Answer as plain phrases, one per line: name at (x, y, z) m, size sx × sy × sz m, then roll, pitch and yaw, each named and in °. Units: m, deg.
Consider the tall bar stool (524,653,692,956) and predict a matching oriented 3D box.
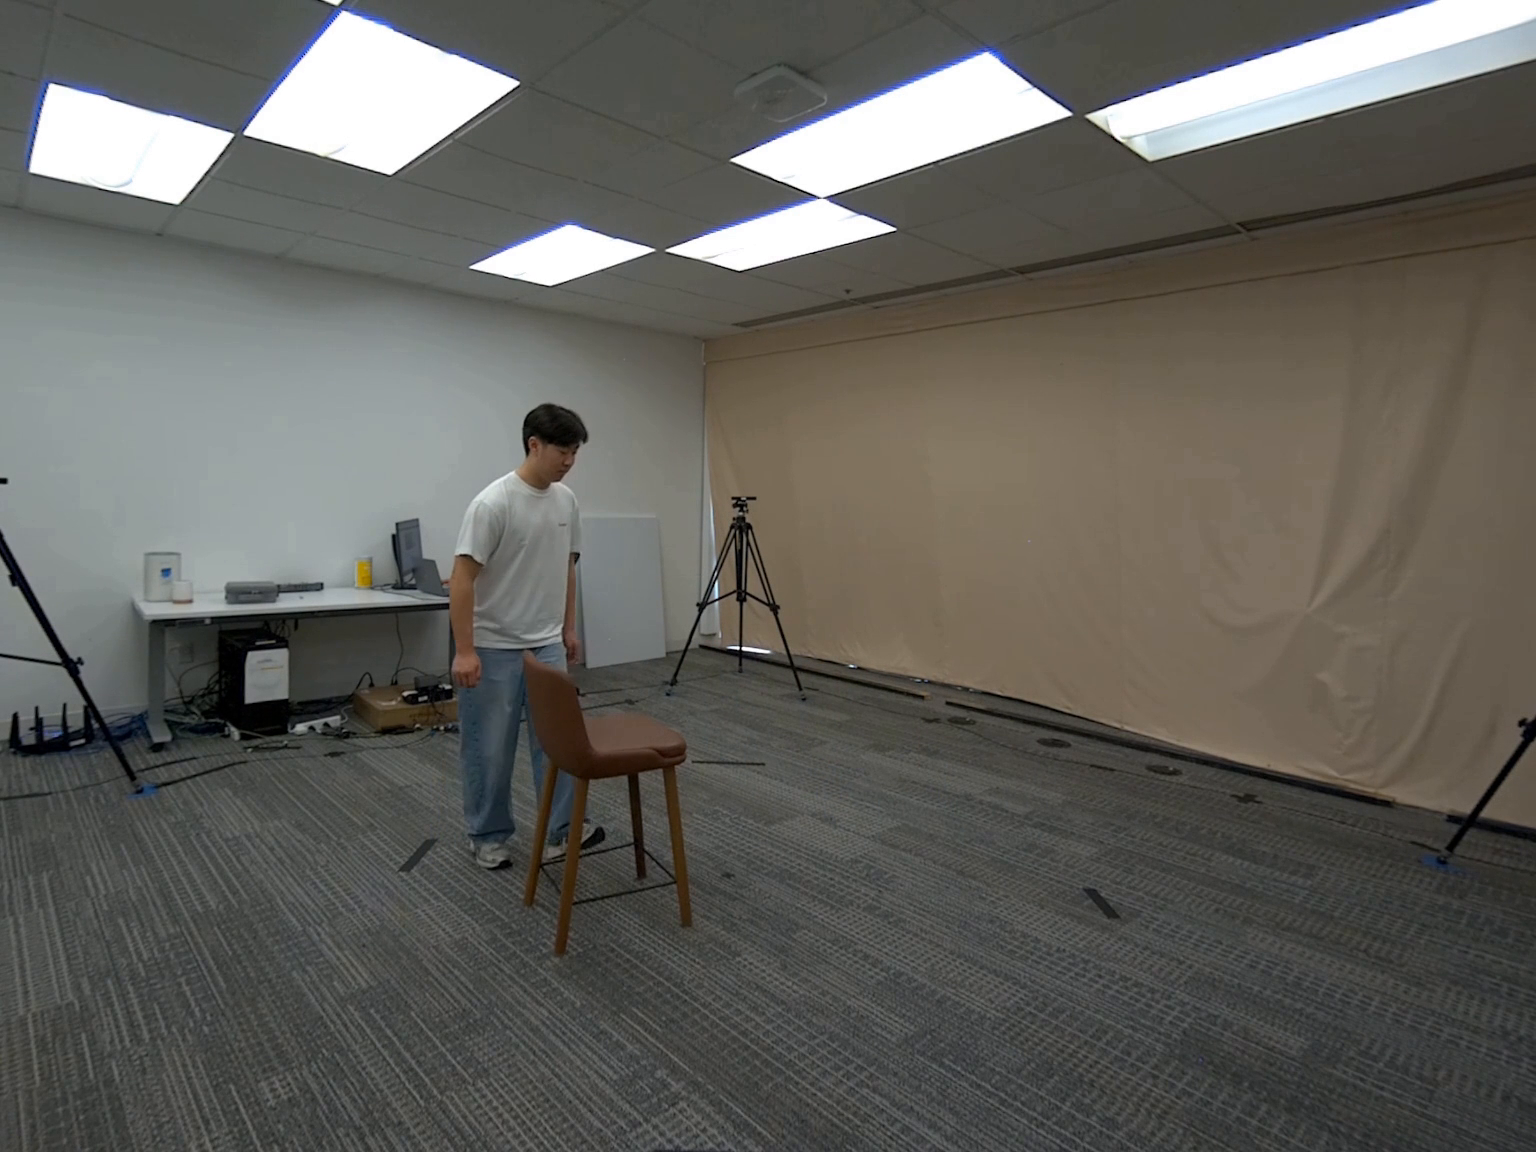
tall bar stool at (-0.541, 0.695, 2.770) m, size 0.458 × 0.887 × 0.467 m, roll -2°, pitch 5°, yaw -31°
